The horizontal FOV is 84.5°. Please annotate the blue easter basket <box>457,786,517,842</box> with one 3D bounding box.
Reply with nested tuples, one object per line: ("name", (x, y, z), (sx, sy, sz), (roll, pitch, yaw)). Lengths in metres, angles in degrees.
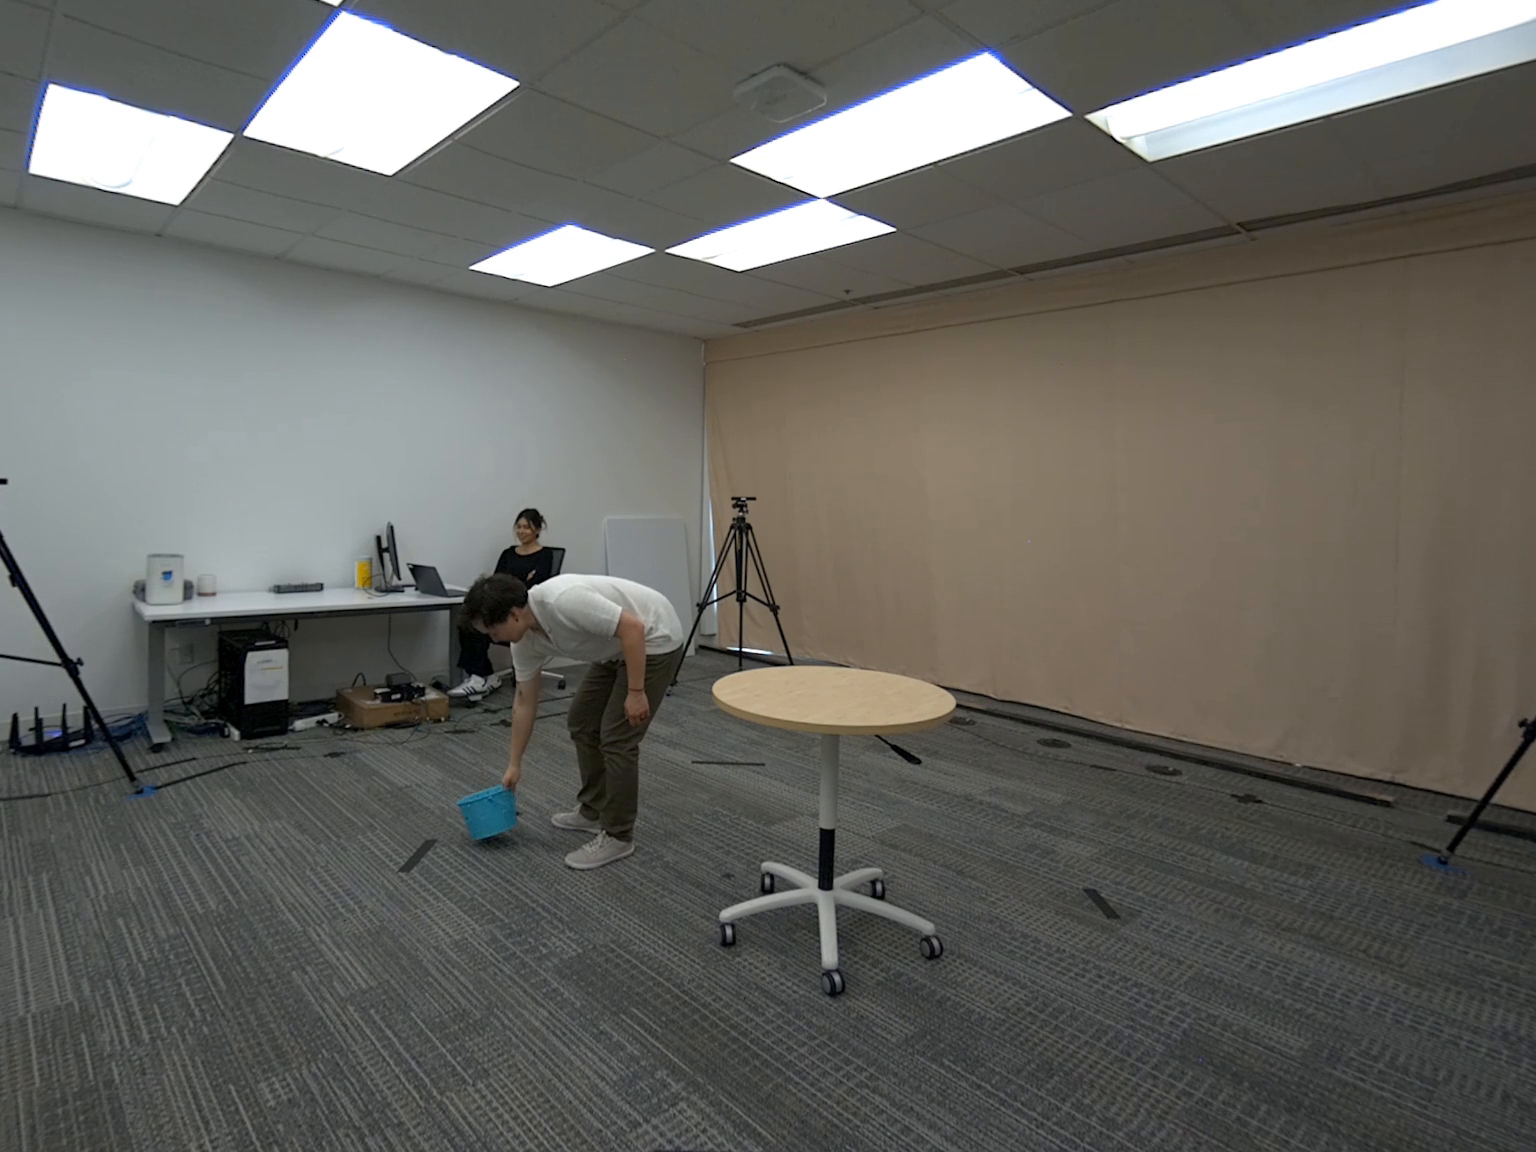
("blue easter basket", (-1.085, 0.925, 3.346), (0.243, 0.156, 0.243), (-15, -3, -2))
